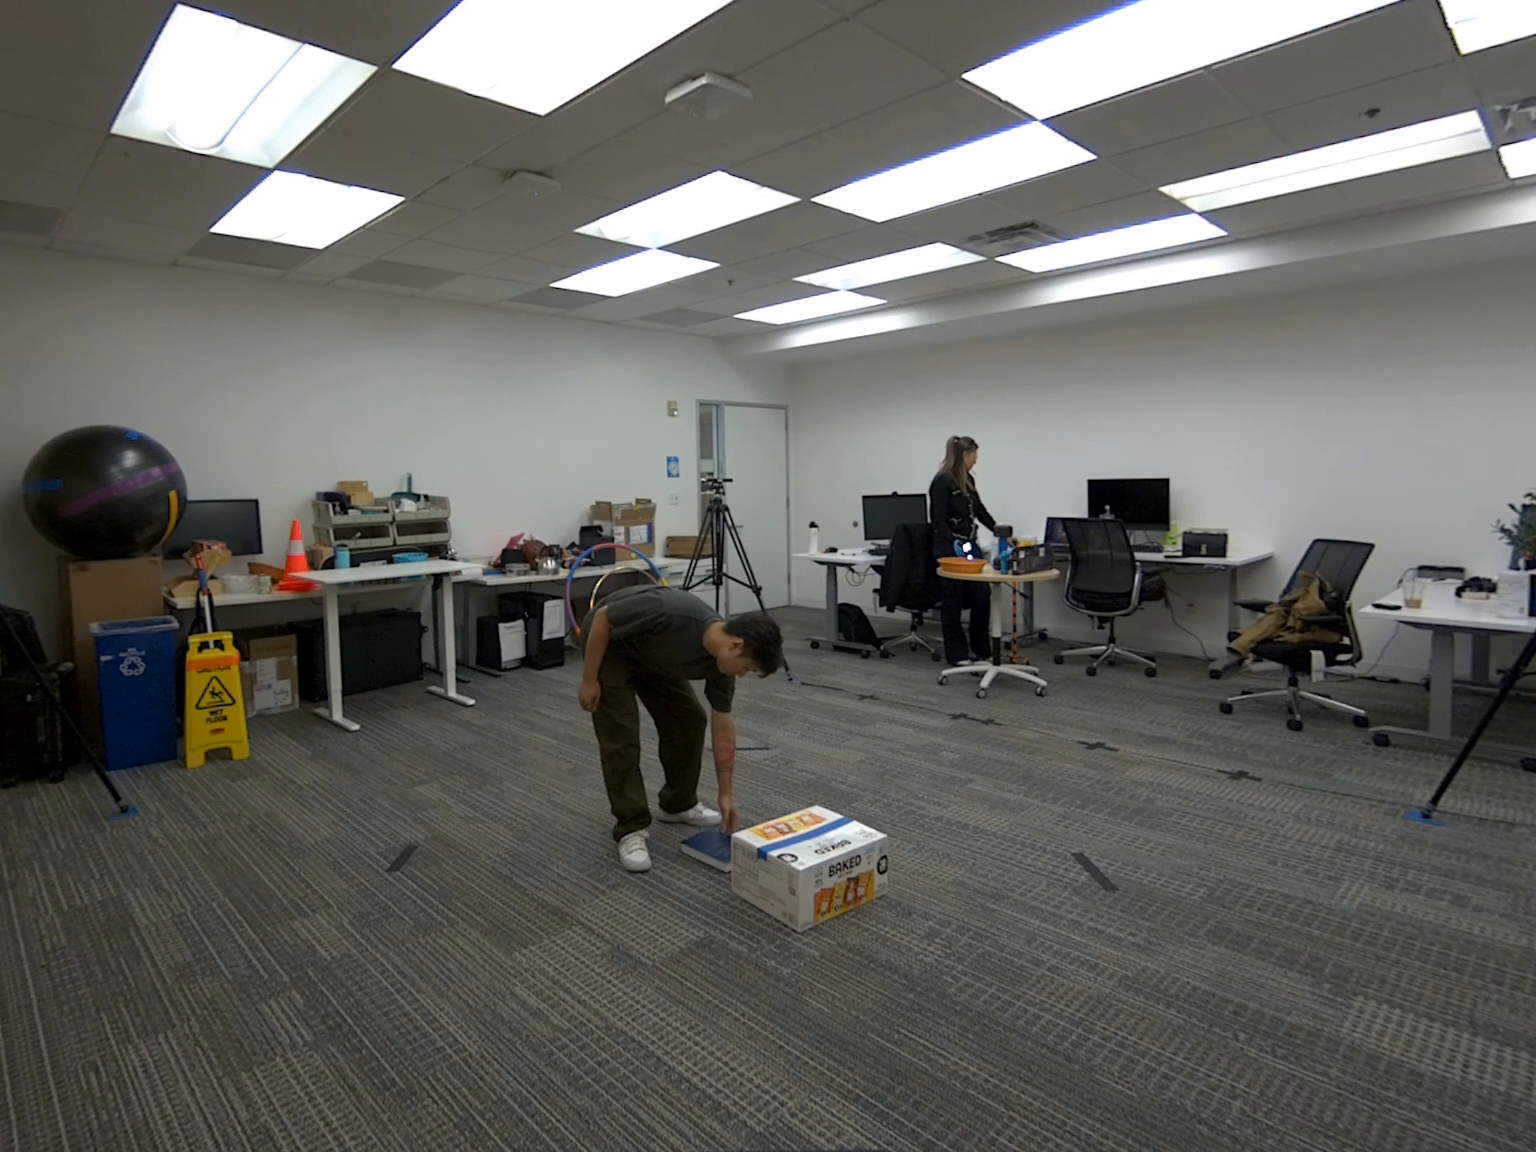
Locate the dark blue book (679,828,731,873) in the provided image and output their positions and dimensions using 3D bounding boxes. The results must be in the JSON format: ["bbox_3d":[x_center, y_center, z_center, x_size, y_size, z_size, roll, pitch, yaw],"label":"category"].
[{"bbox_3d":[-0.182,1.013,3.163,0.253,0.045,0.159,5,10,44],"label":"dark blue book"}]
